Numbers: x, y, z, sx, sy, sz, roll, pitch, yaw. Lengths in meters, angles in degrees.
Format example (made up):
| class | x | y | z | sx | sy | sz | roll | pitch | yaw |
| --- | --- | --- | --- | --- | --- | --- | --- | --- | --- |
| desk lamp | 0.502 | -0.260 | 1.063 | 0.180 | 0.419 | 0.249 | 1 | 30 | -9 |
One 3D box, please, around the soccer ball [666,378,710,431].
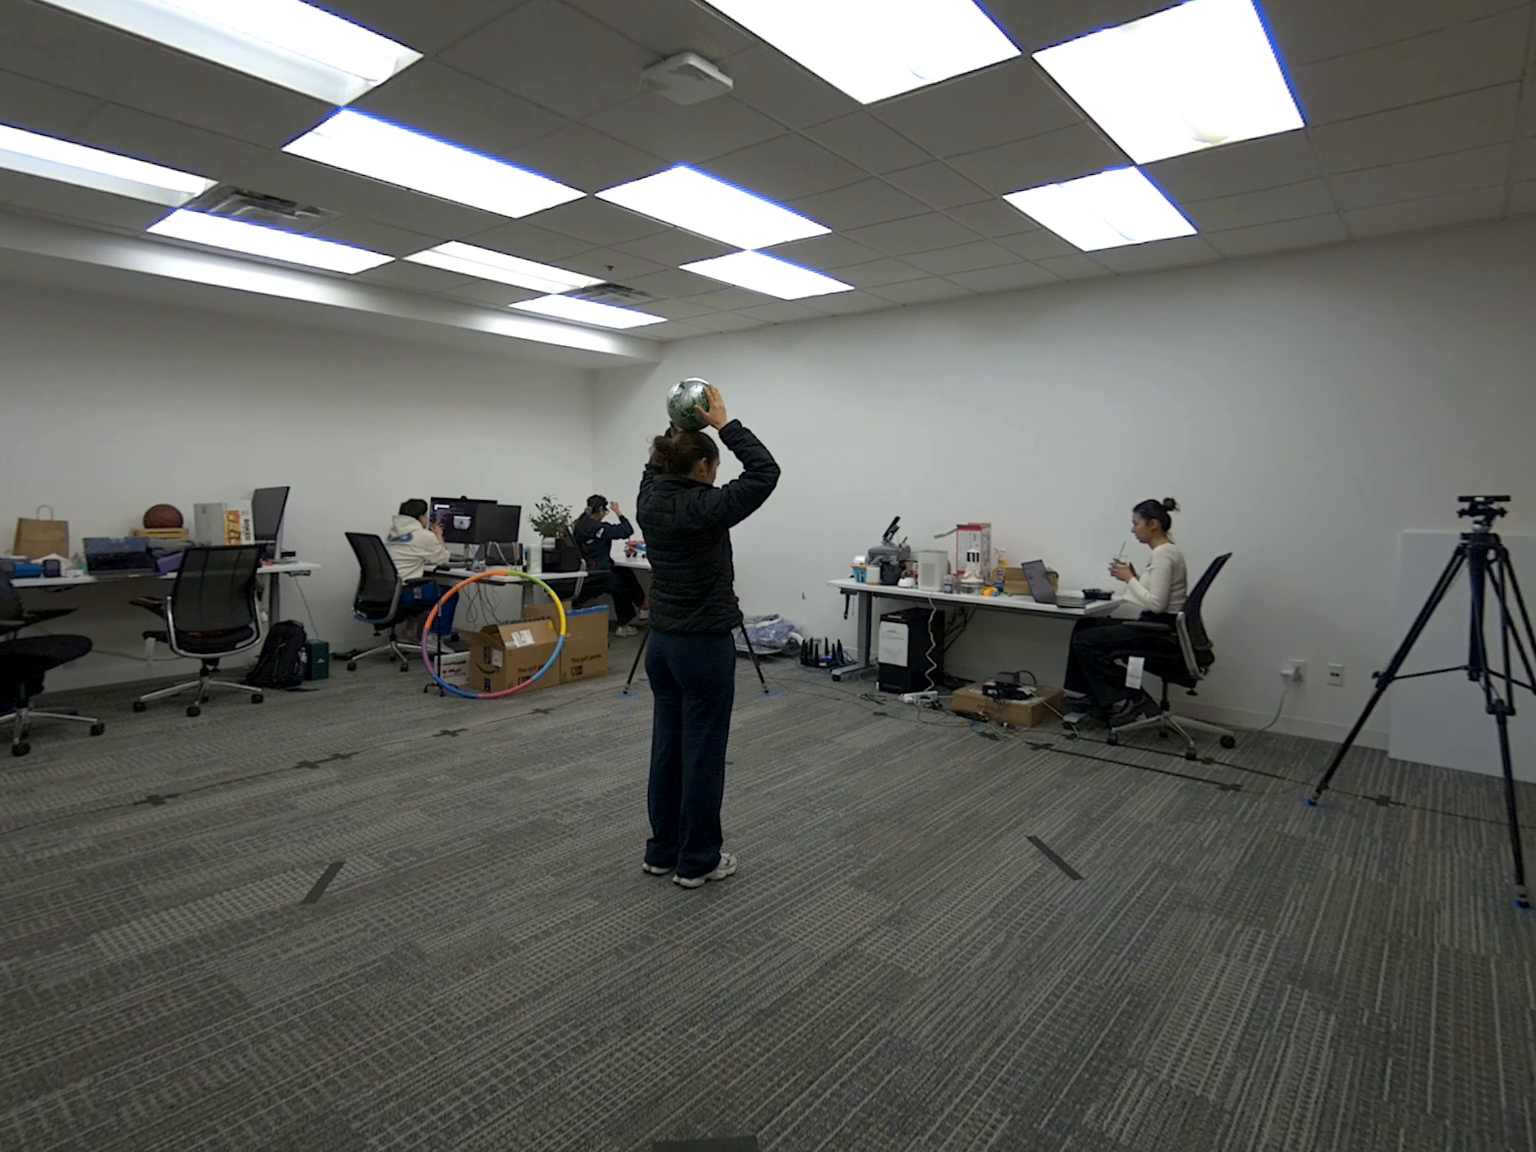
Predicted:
| class | x | y | z | sx | sy | sz | roll | pitch | yaw |
| --- | --- | --- | --- | --- | --- | --- | --- | --- | --- |
| soccer ball | -0.274 | -0.613 | 3.021 | 0.187 | 0.187 | 0.188 | 1 | 4 | -2 |
